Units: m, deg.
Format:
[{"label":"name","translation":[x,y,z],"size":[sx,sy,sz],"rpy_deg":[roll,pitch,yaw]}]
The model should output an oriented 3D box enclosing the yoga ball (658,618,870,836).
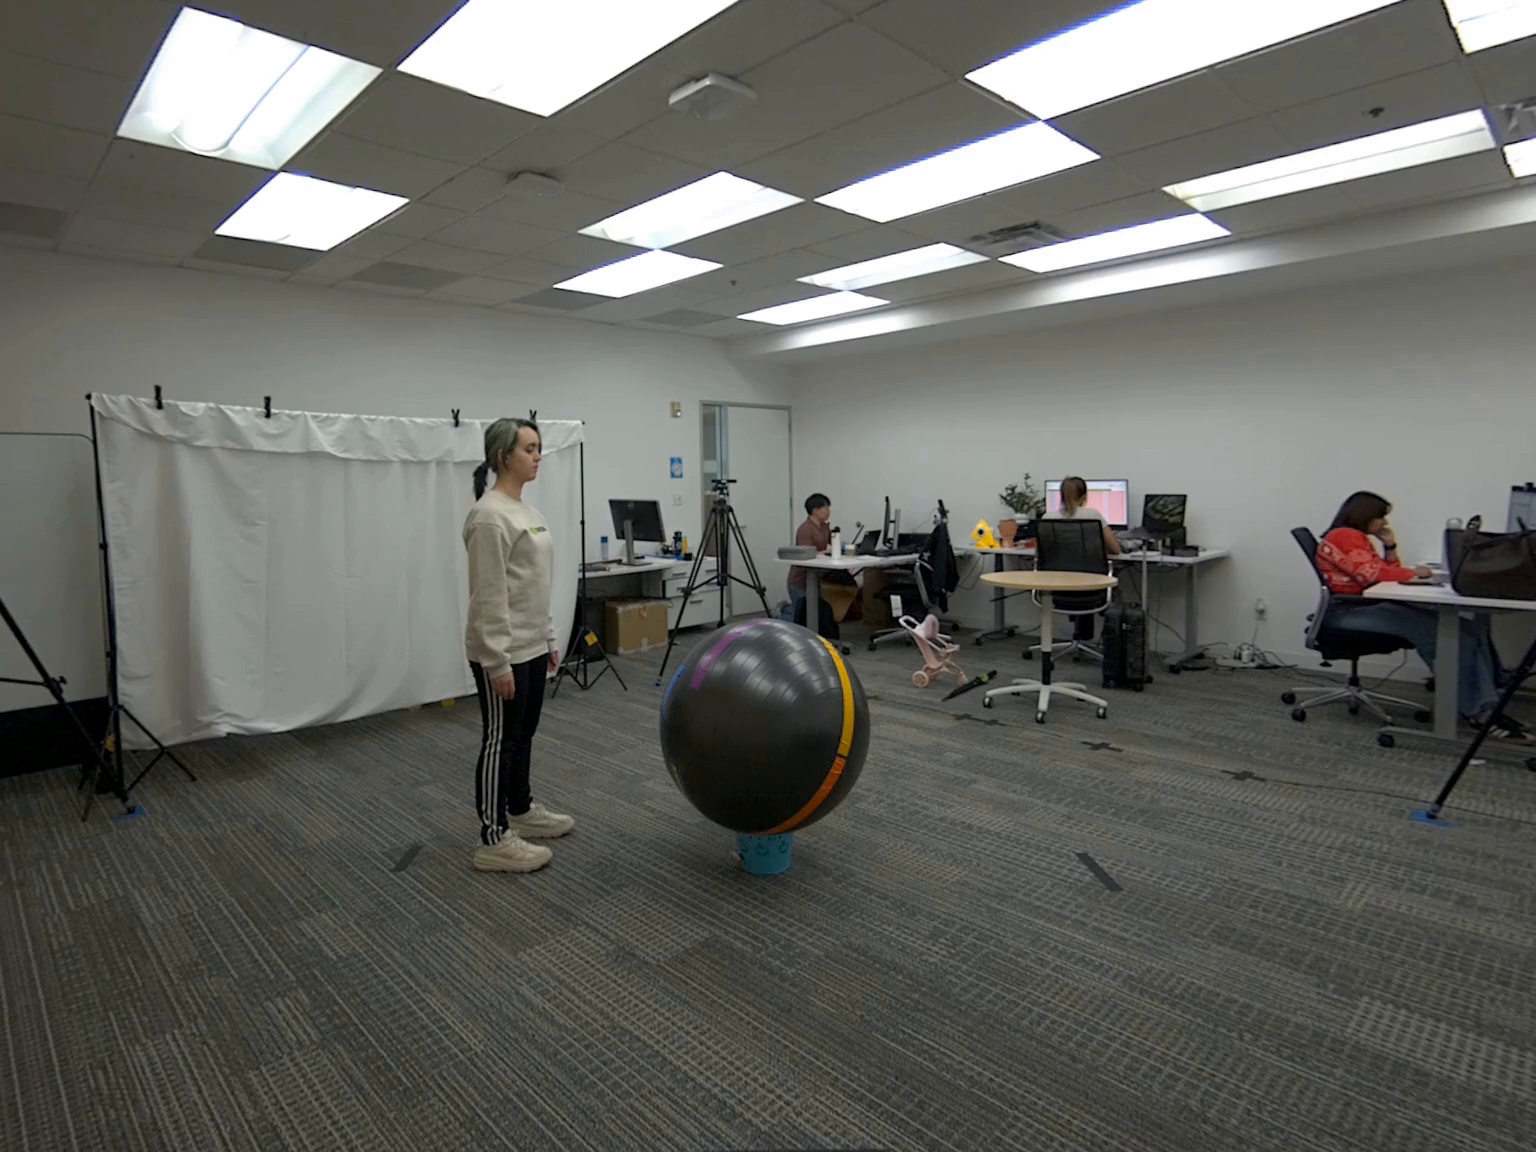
[{"label":"yoga ball","translation":[-0.013,0.532,3.082],"size":[0.757,0.755,0.762],"rpy_deg":[-1,5,-2]}]
